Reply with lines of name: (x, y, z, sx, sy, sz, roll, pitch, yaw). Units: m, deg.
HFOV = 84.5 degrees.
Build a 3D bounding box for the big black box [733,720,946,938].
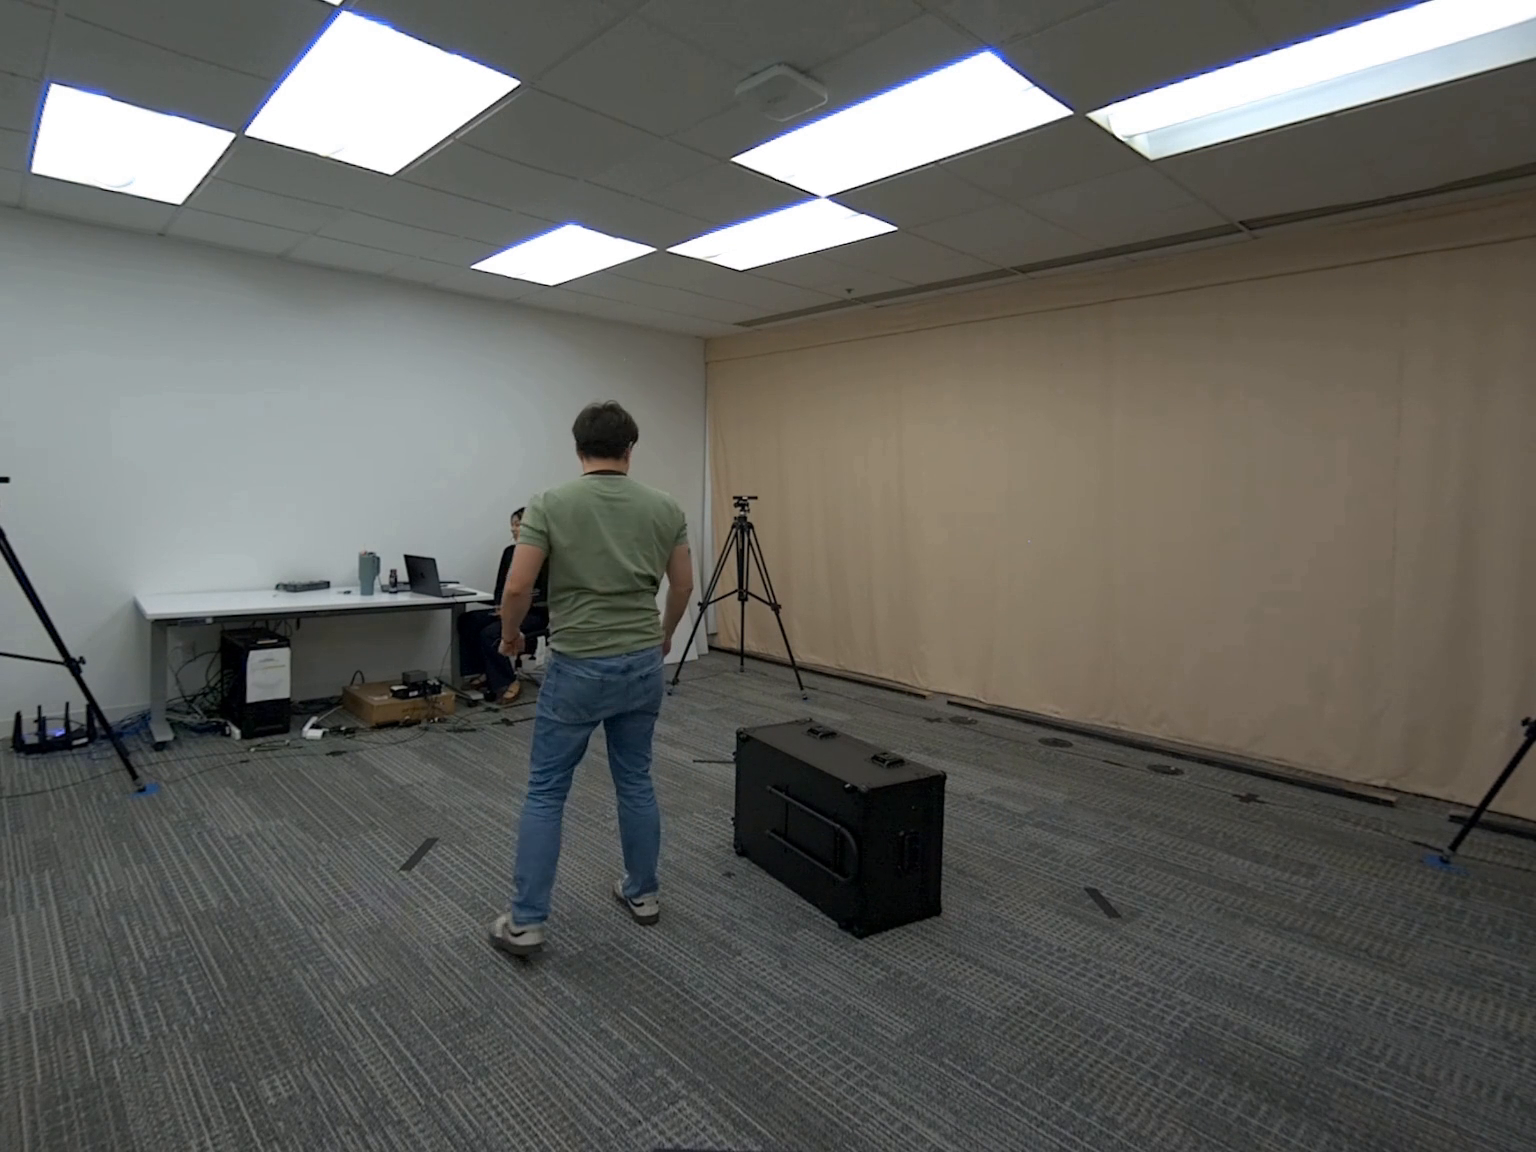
big black box: (0.196, 0.870, 3.096, 0.388, 0.520, 0.881, -1, 5, -31)
